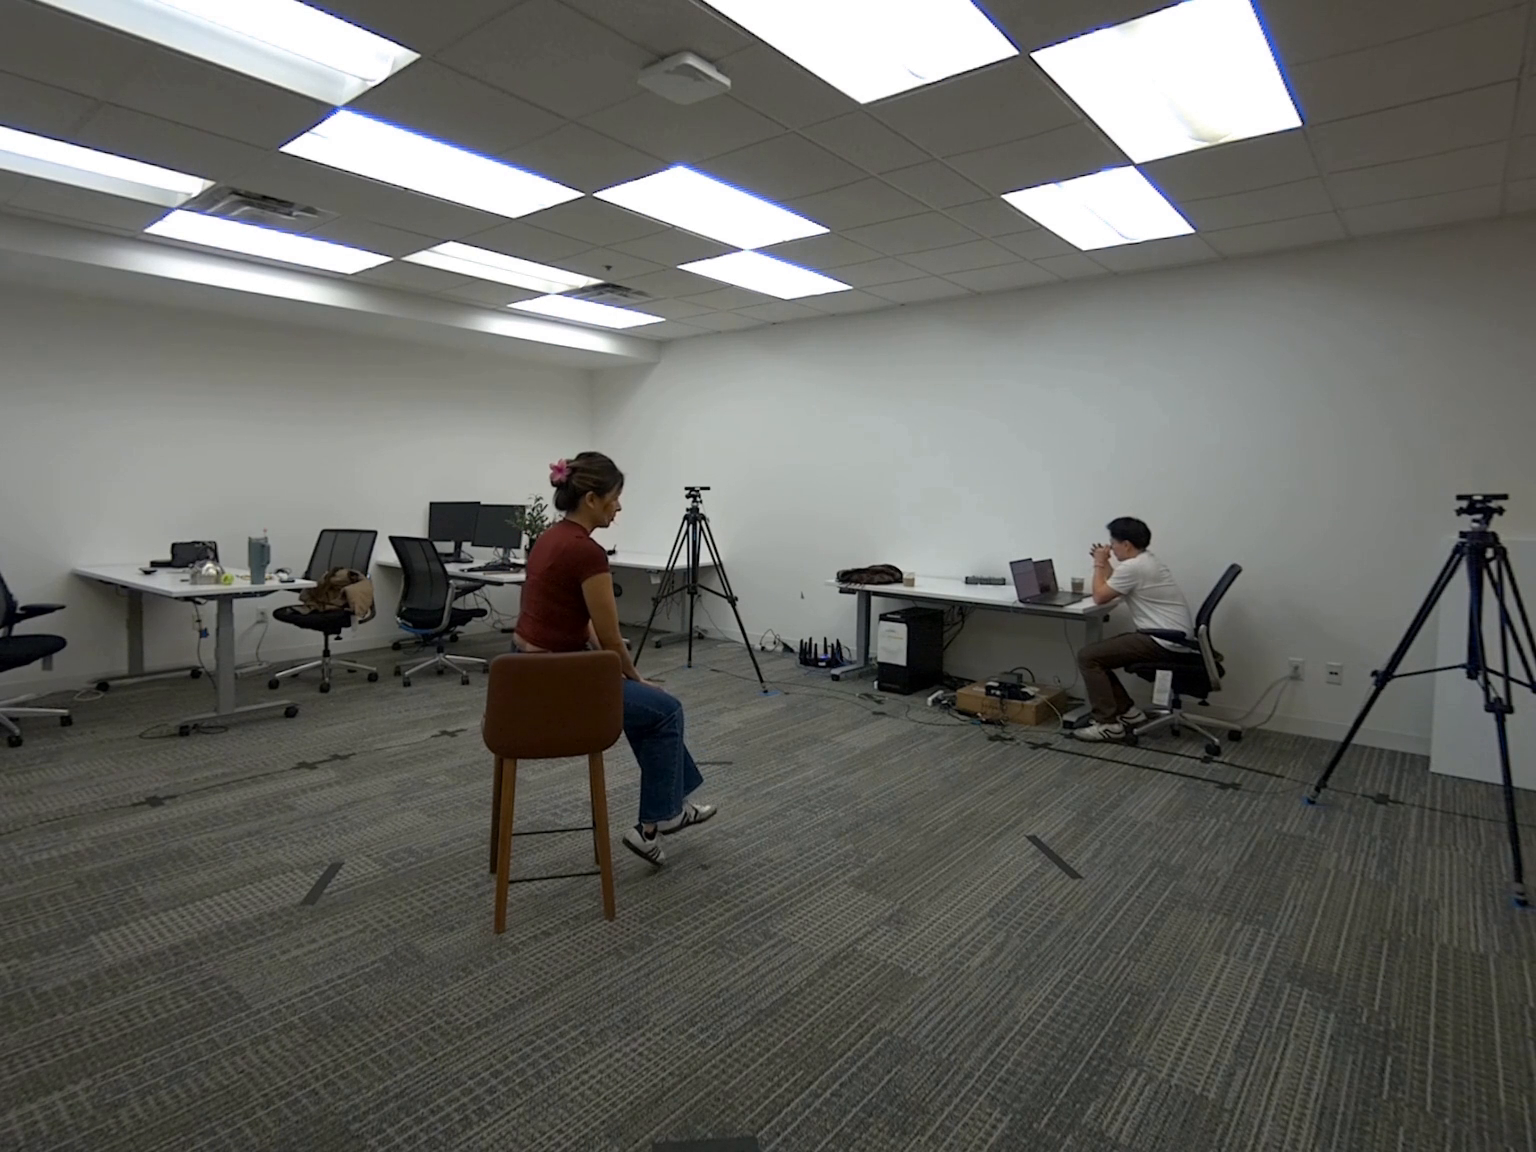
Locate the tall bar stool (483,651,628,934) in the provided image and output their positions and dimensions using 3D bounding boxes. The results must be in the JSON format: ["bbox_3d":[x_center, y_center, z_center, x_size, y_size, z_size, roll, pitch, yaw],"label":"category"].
[{"bbox_3d":[-0.747,0.651,2.857,0.449,0.886,0.478,-1,5,-18],"label":"tall bar stool"}]
